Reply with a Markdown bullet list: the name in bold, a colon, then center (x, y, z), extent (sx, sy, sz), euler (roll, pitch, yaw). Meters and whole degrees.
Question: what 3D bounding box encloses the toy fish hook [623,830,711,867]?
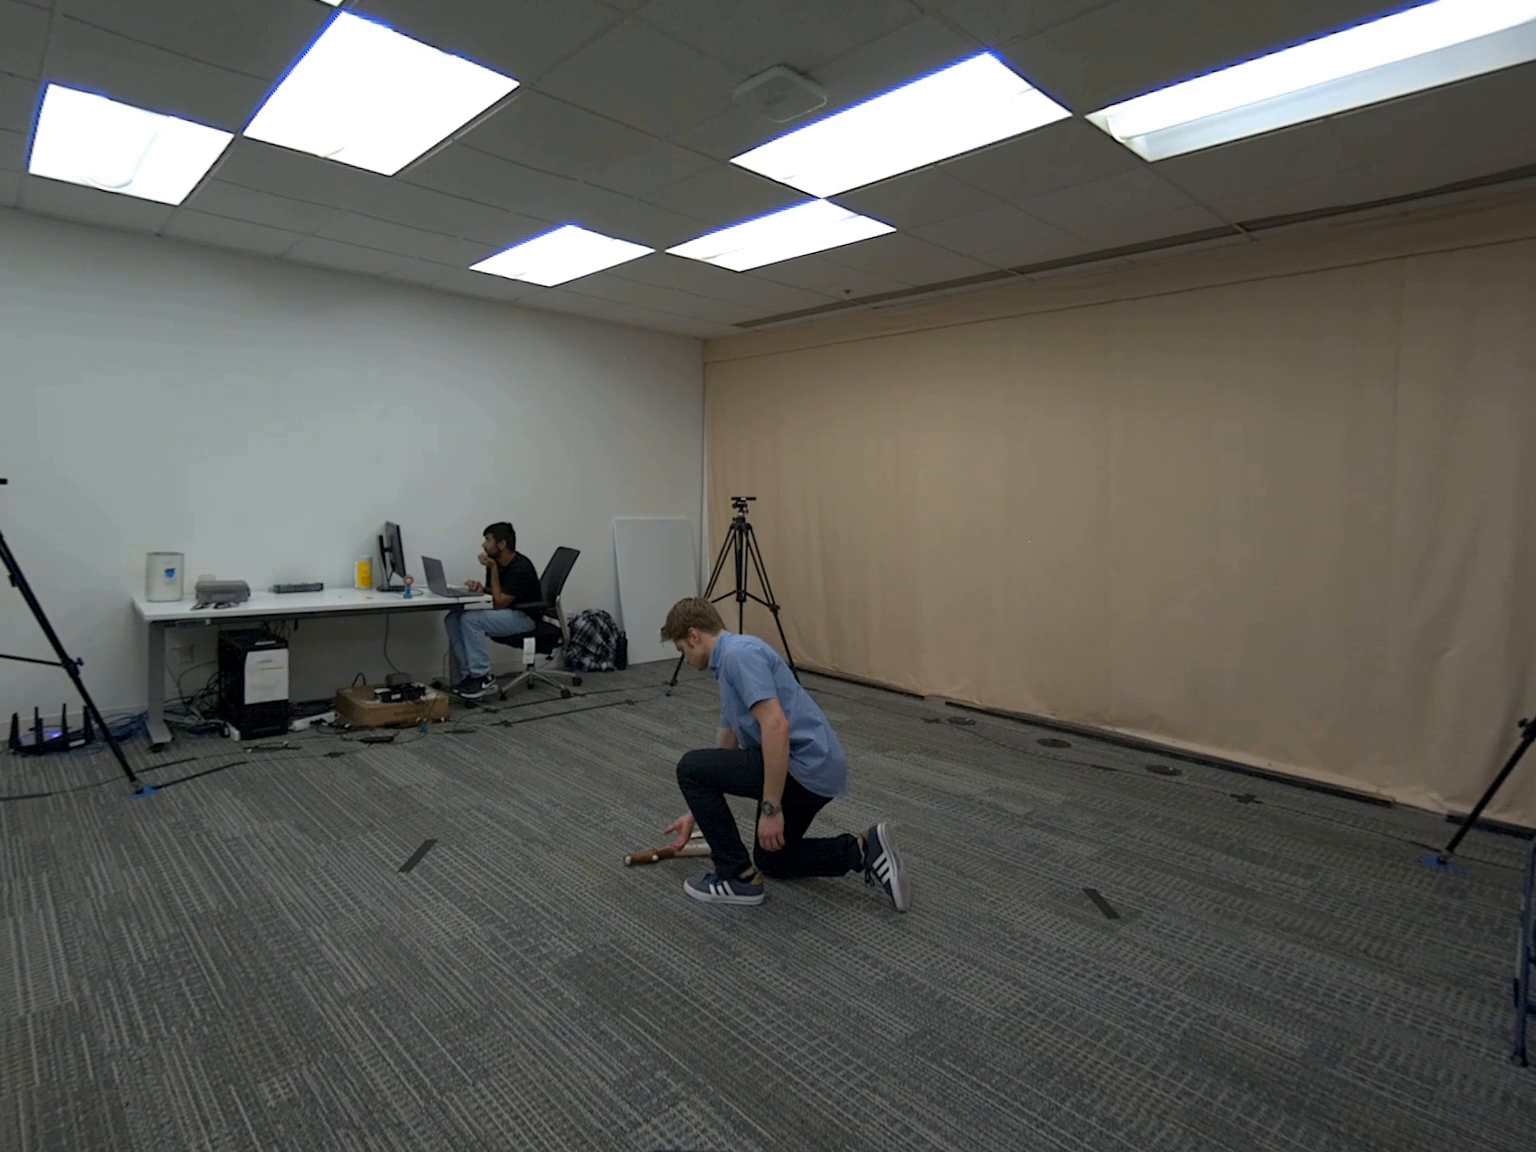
- **toy fish hook**: center (-0.350, 1.068, 3.319), extent (0.497, 0.048, 0.228), euler (0, -2, -27)
